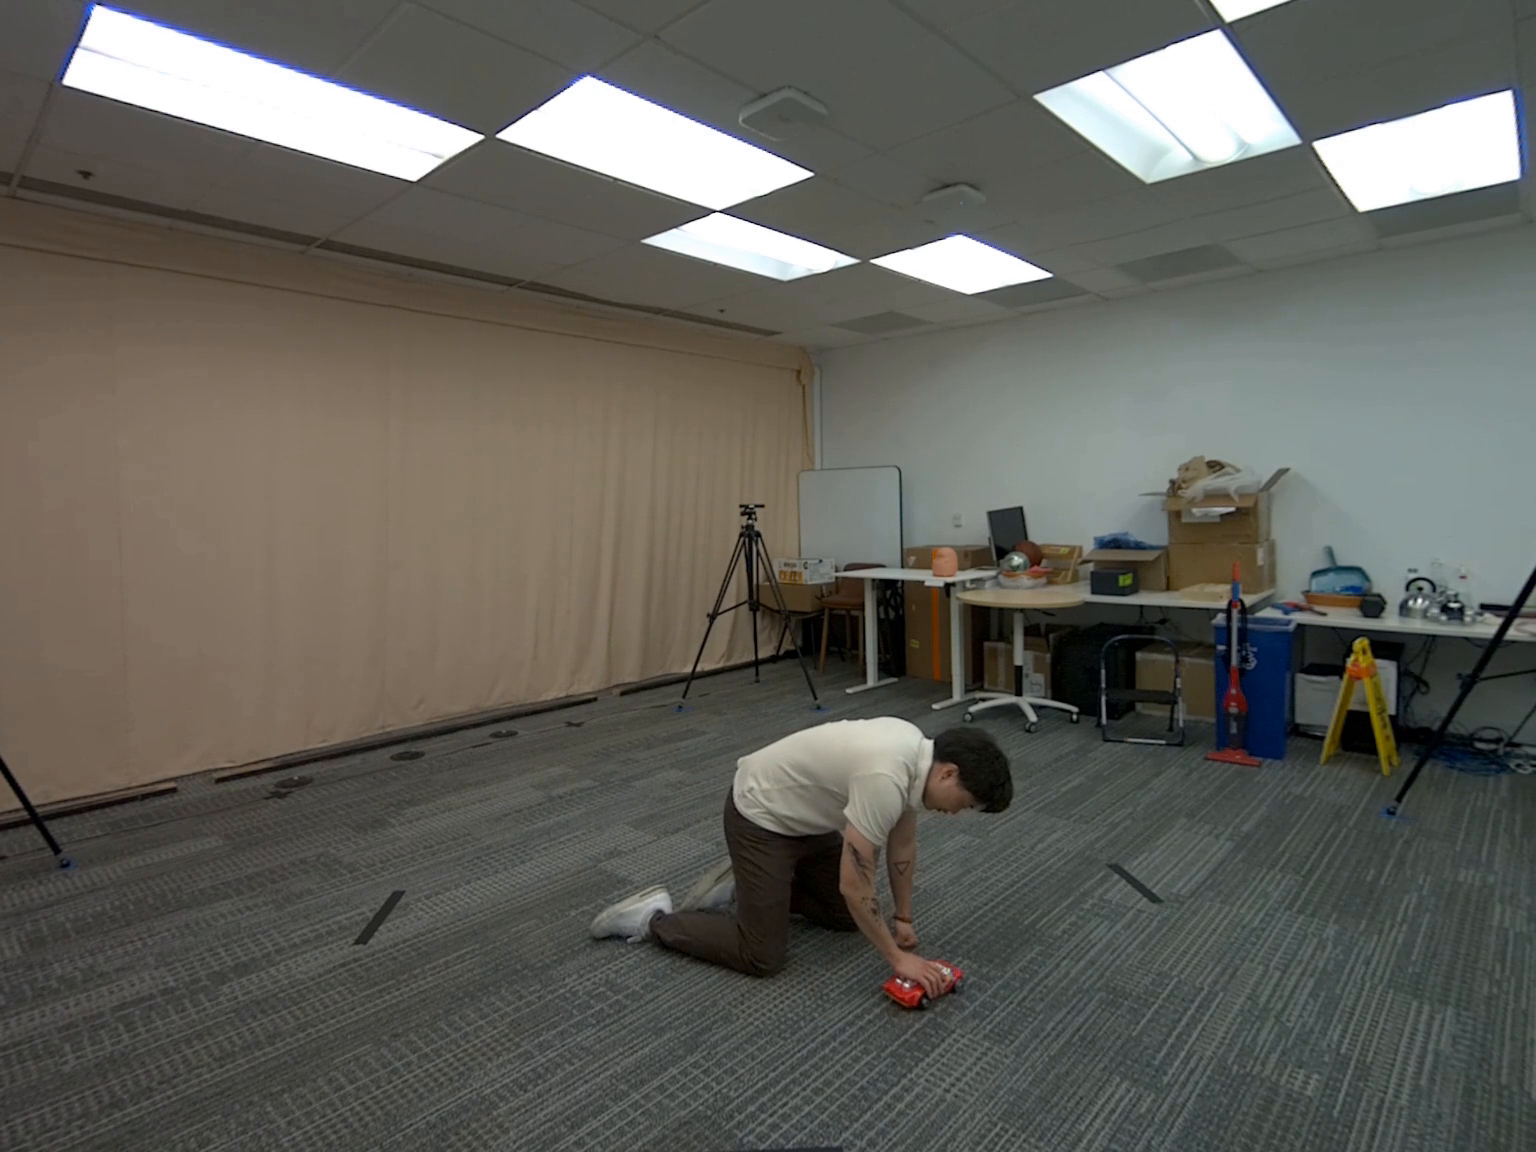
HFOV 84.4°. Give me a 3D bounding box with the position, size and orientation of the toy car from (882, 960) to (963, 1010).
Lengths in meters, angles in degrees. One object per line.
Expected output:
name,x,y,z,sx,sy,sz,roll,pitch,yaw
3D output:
toy car,0.441,1.157,2.371,0.247,0.083,0.134,9,0,-33
